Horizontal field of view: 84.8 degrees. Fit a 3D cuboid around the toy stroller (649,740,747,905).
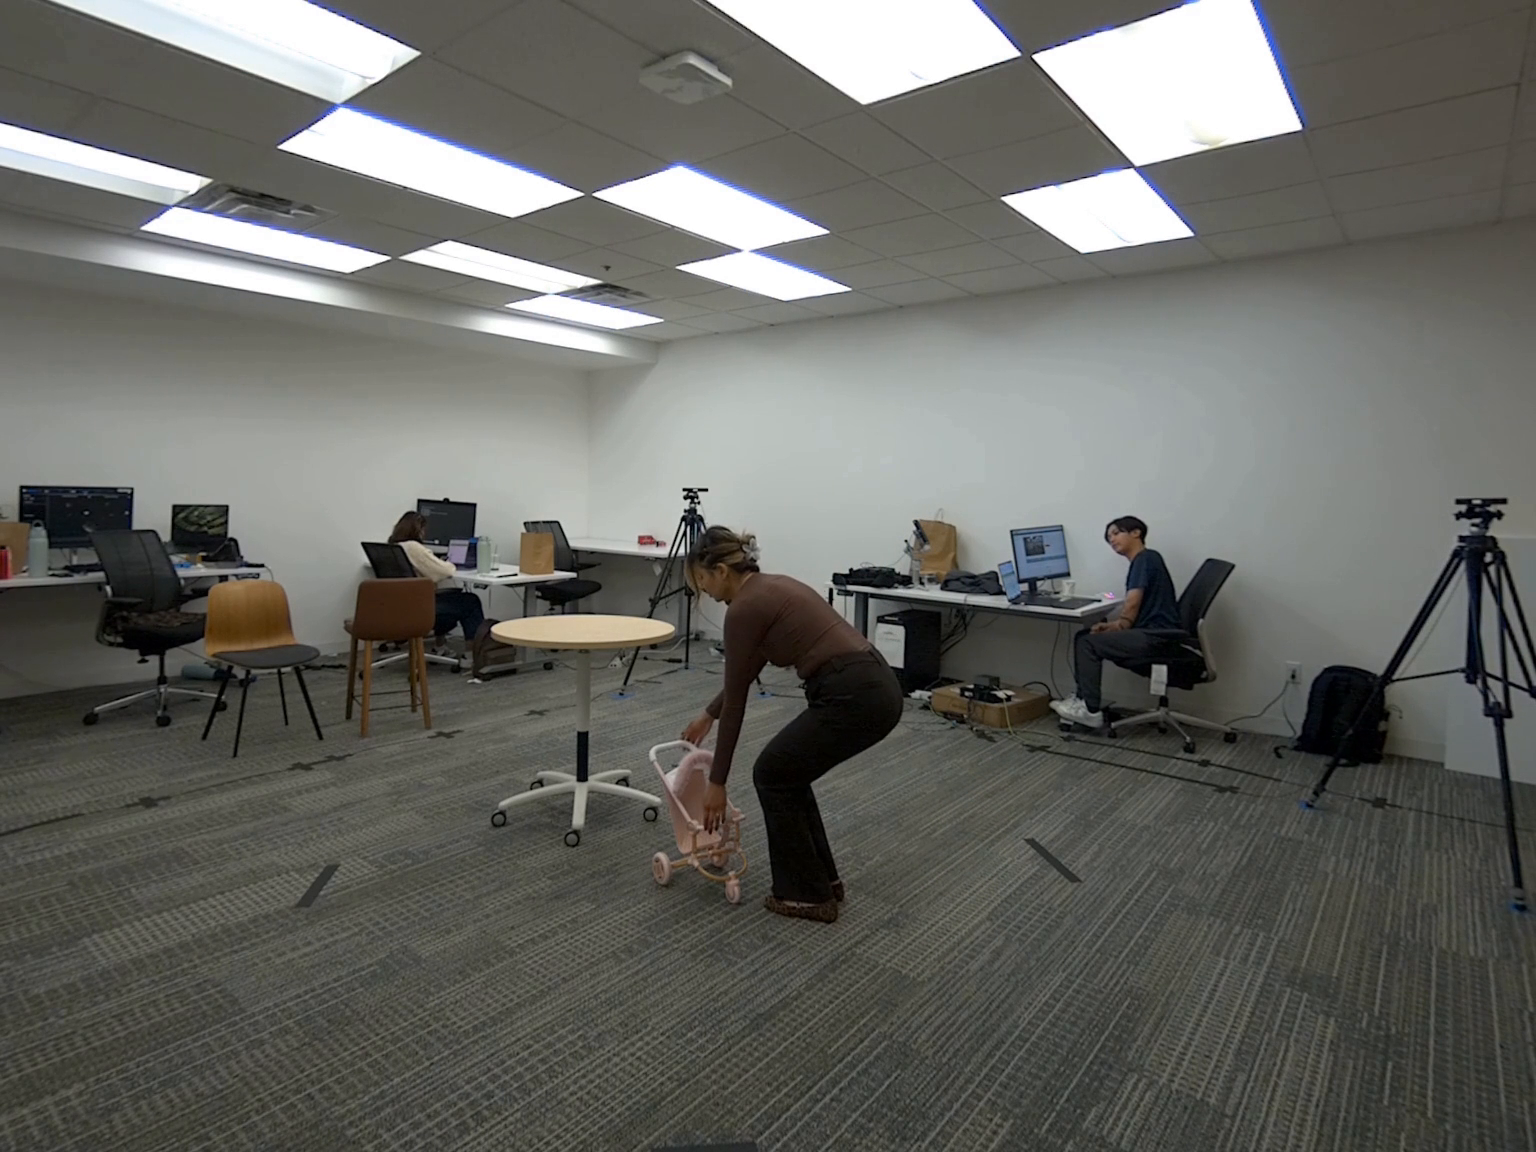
[{"bbox_3d":[-0.245,0.850,2.997,0.273,0.540,0.348,-1,-11,-34],"label":"toy stroller"}]
